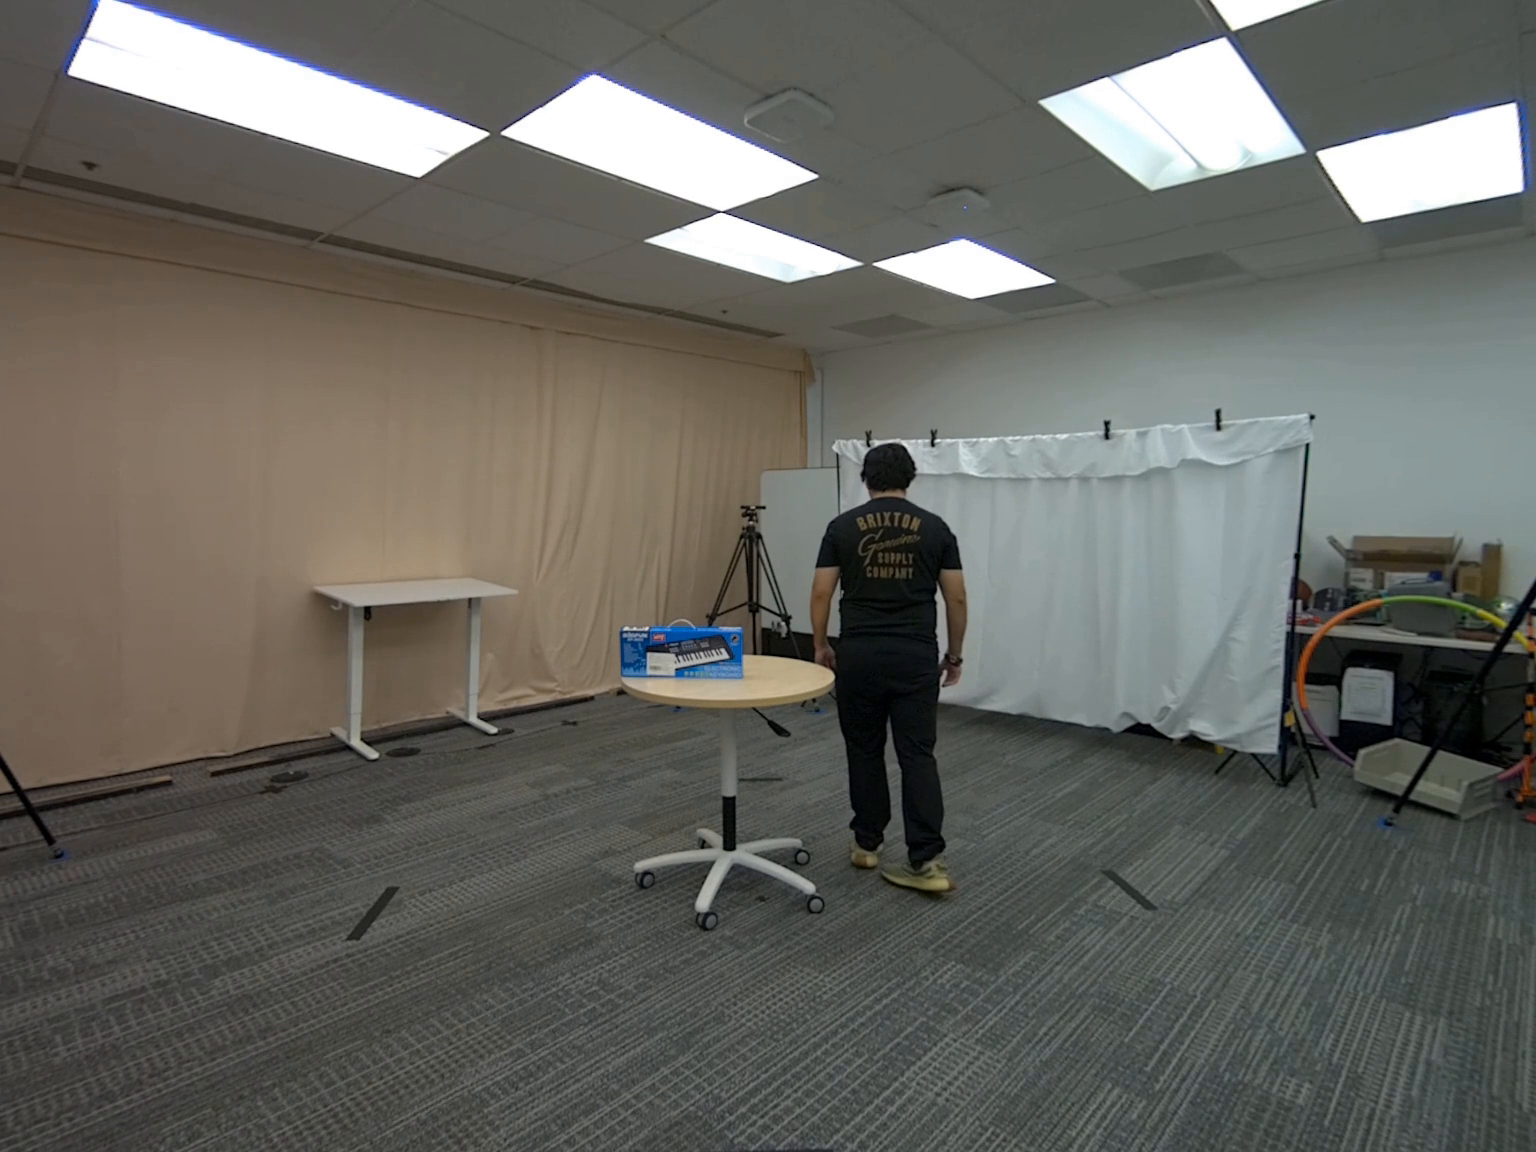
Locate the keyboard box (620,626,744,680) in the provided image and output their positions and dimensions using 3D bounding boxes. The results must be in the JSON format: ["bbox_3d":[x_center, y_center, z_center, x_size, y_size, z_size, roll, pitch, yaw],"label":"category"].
[{"bbox_3d":[-0.307,0.281,3.025,0.439,0.175,0.059,0,3,5],"label":"keyboard box"}]
